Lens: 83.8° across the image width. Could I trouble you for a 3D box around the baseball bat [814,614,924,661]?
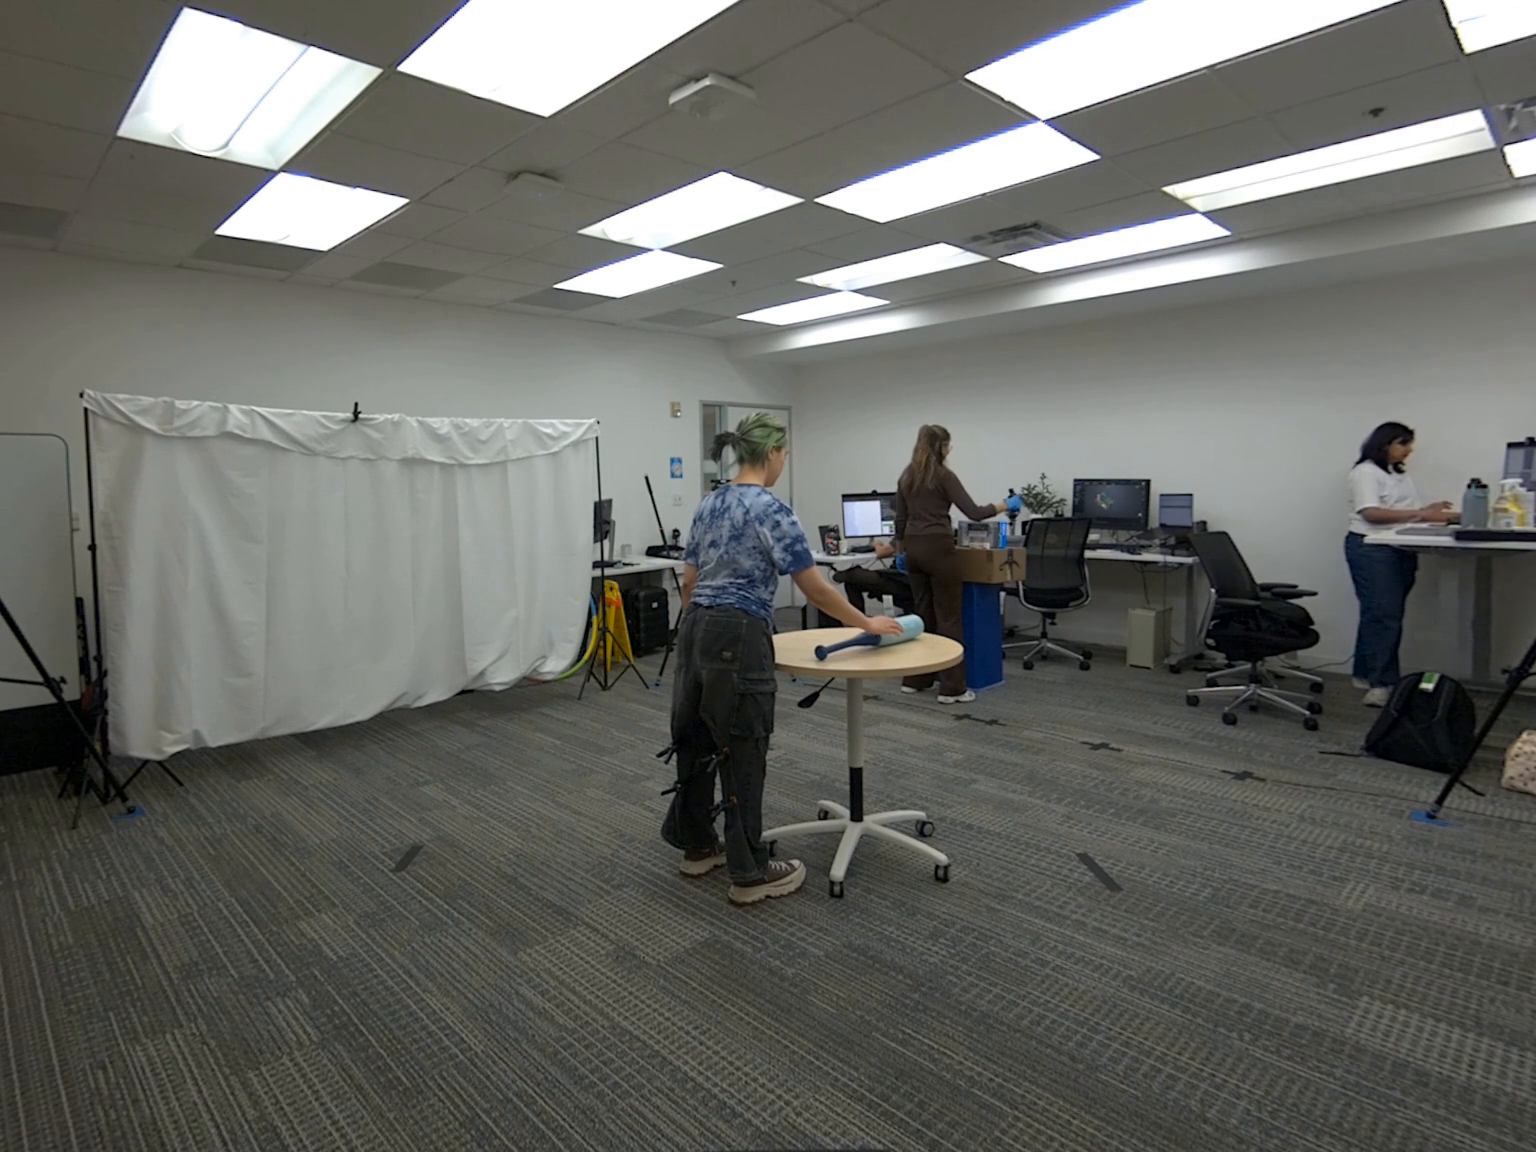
[{"bbox_3d":[0.371,0.227,3.042,0.530,0.088,0.092,-11,10,-42],"label":"baseball bat"}]
